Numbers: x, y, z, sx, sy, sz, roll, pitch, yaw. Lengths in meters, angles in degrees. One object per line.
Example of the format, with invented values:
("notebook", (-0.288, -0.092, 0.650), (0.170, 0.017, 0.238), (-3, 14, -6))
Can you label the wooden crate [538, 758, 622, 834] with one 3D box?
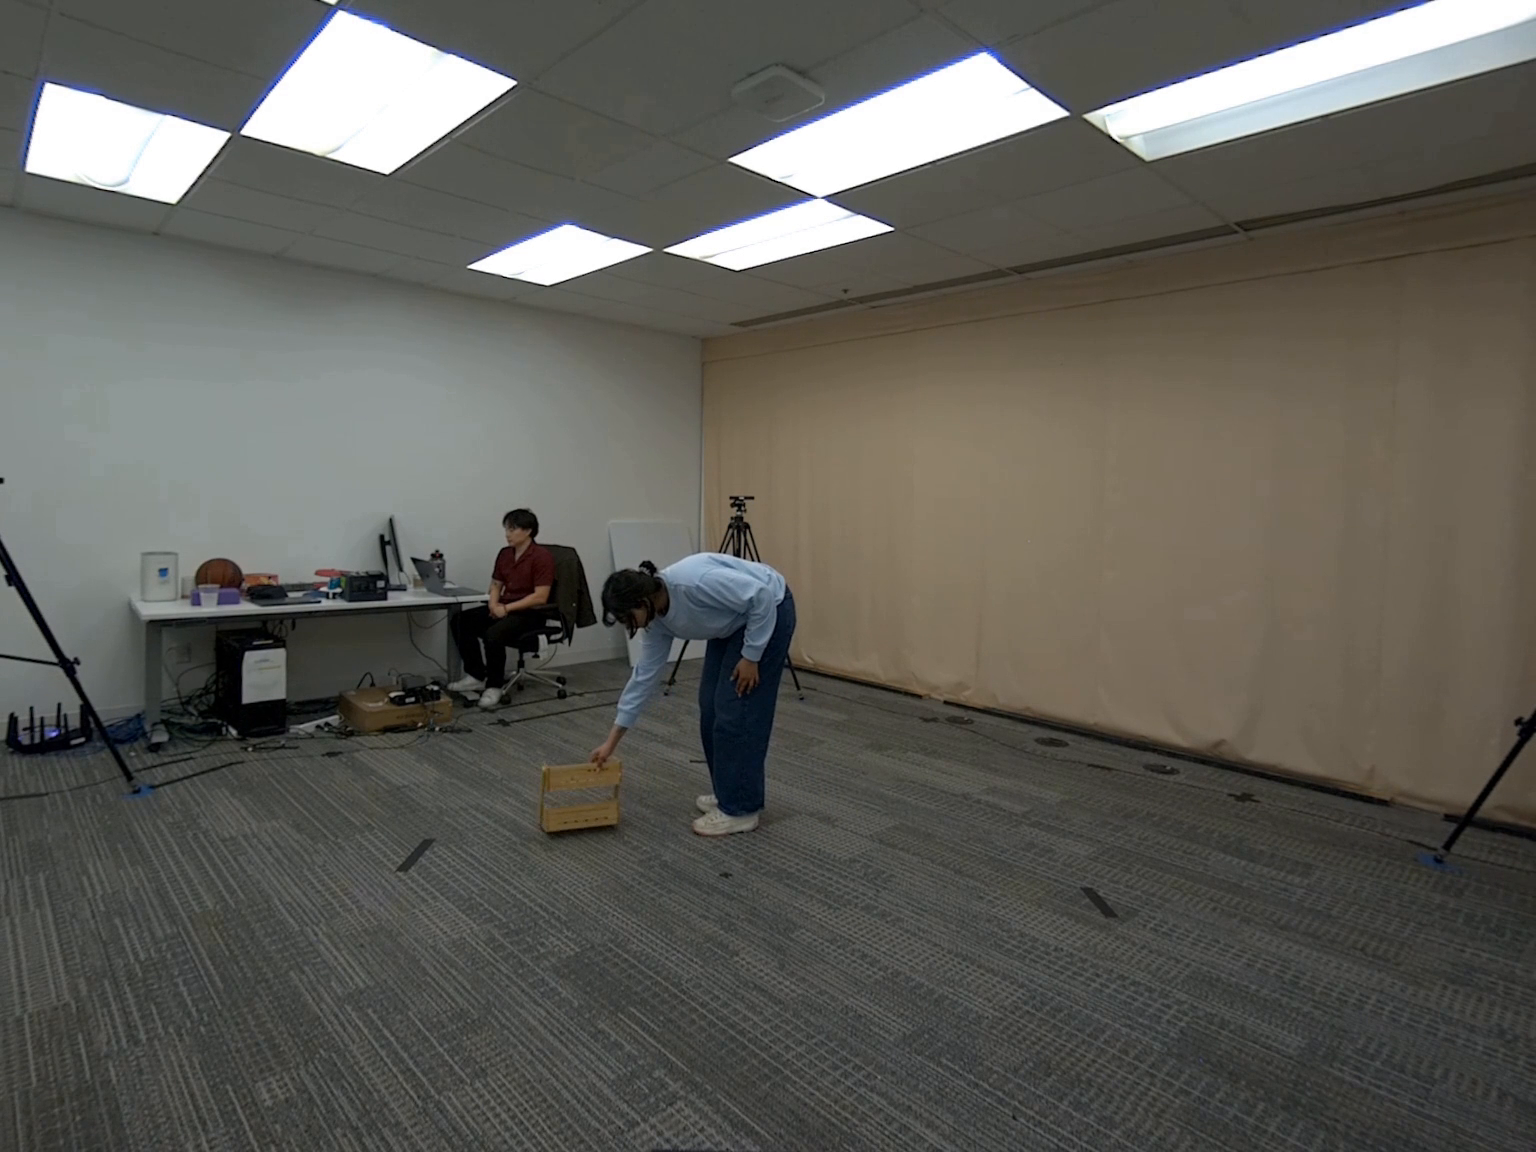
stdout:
("wooden crate", (-0.801, 0.900, 3.528), (0.319, 0.274, 0.306), (0, -3, -22))
